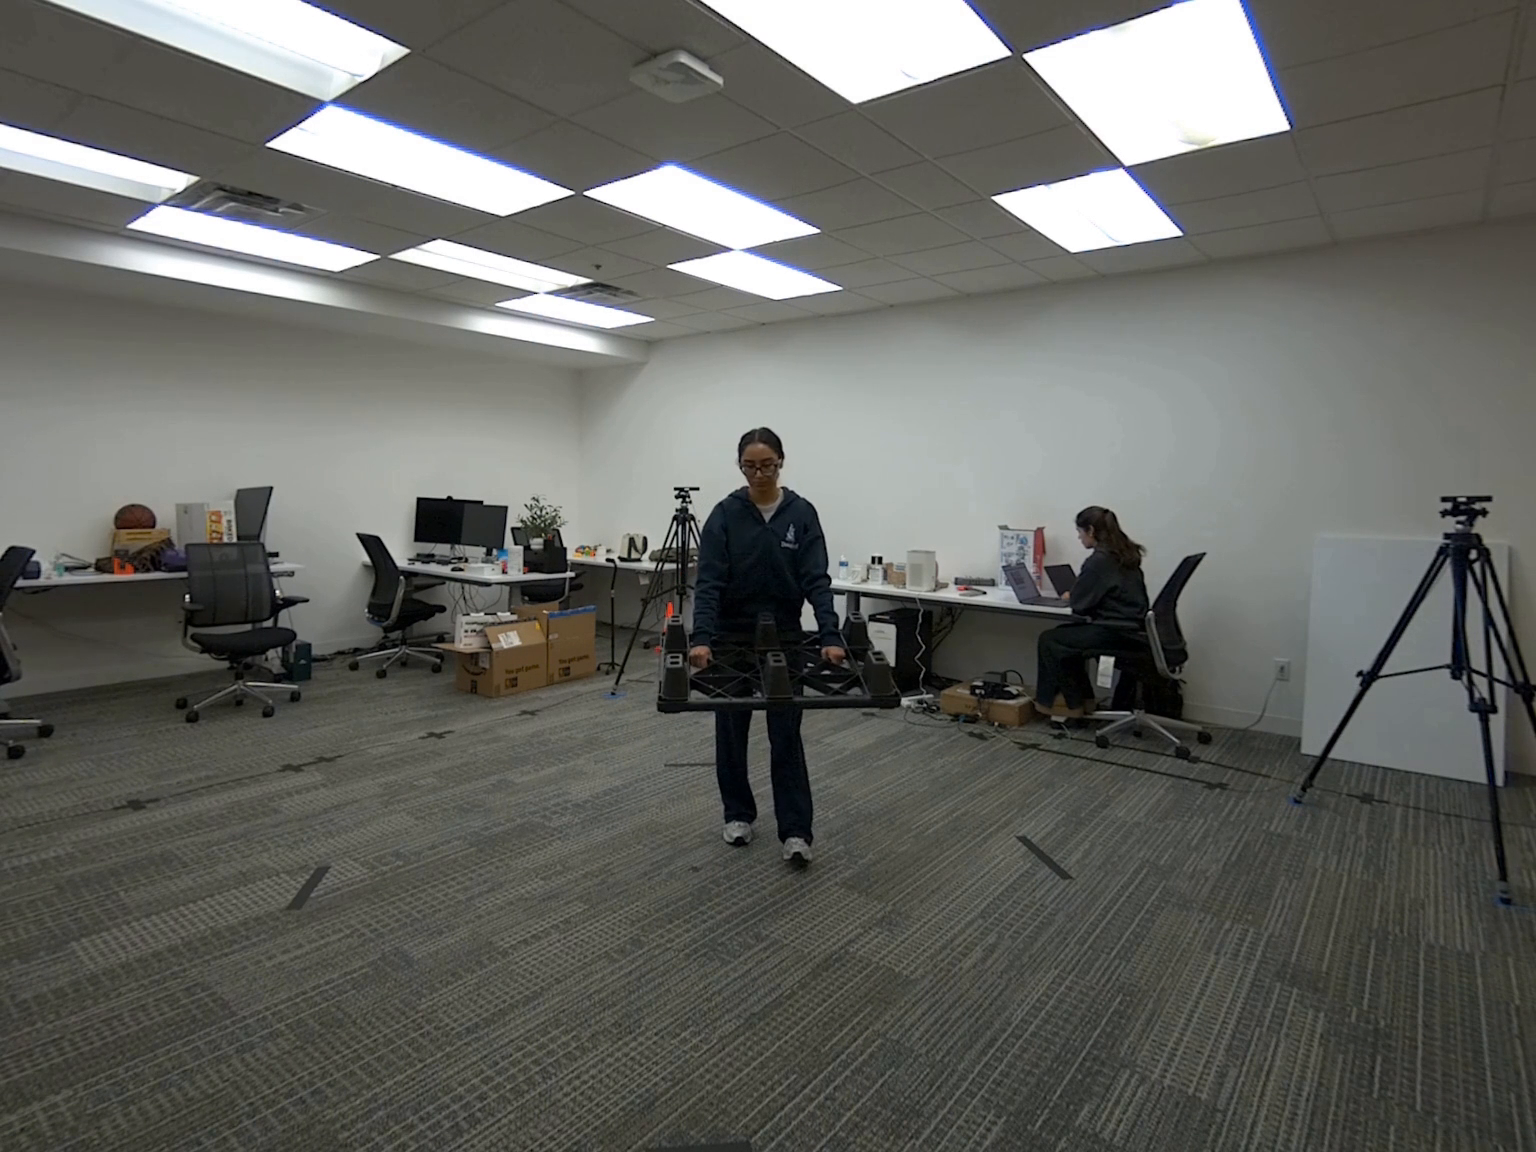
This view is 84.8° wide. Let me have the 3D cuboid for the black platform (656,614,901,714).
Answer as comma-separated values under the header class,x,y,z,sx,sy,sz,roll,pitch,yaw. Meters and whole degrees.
class,x,y,z,sx,sy,sz,roll,pitch,yaw
black platform,0.009,0.275,3.029,0.803,0.141,0.617,-1,19,-3
